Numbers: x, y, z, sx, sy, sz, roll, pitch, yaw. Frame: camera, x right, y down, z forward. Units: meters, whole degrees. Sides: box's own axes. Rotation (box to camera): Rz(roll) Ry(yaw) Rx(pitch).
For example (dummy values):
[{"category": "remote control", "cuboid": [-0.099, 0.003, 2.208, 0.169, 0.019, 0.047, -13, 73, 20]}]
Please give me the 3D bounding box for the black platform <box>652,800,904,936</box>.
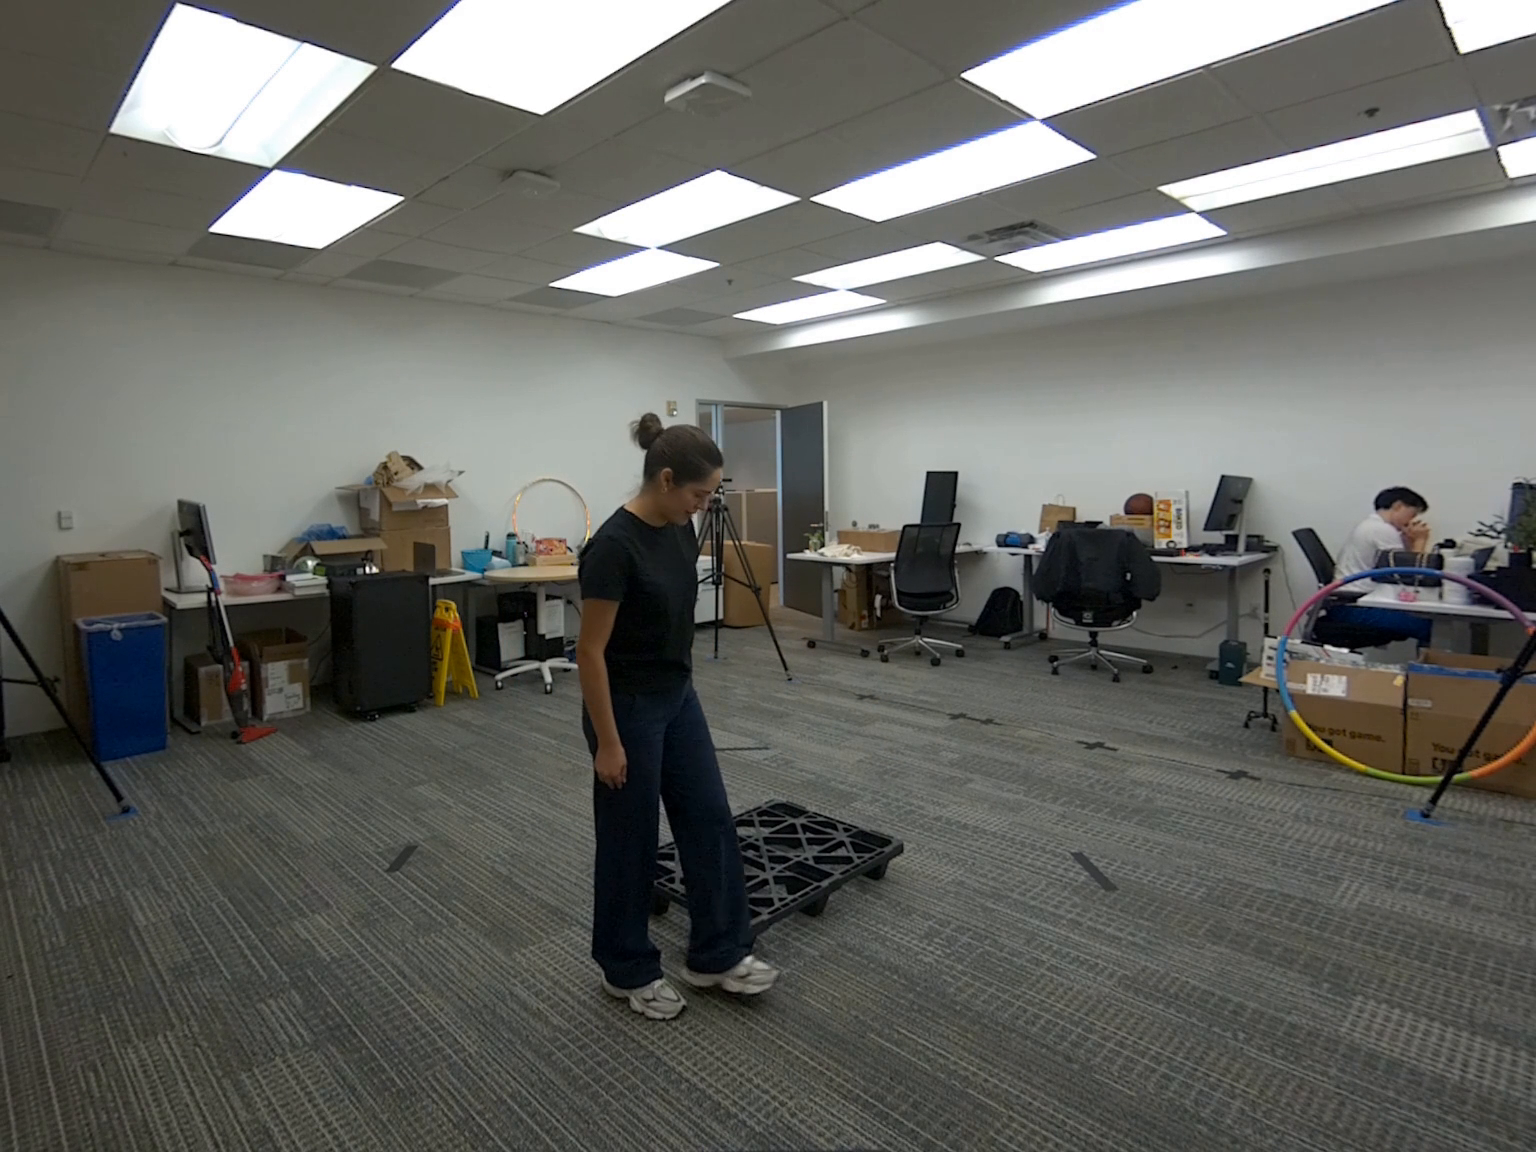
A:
[{"category": "black platform", "cuboid": [-0.002, 1.003, 2.908, 0.624, 0.142, 0.785, 6, 10, 44]}]
